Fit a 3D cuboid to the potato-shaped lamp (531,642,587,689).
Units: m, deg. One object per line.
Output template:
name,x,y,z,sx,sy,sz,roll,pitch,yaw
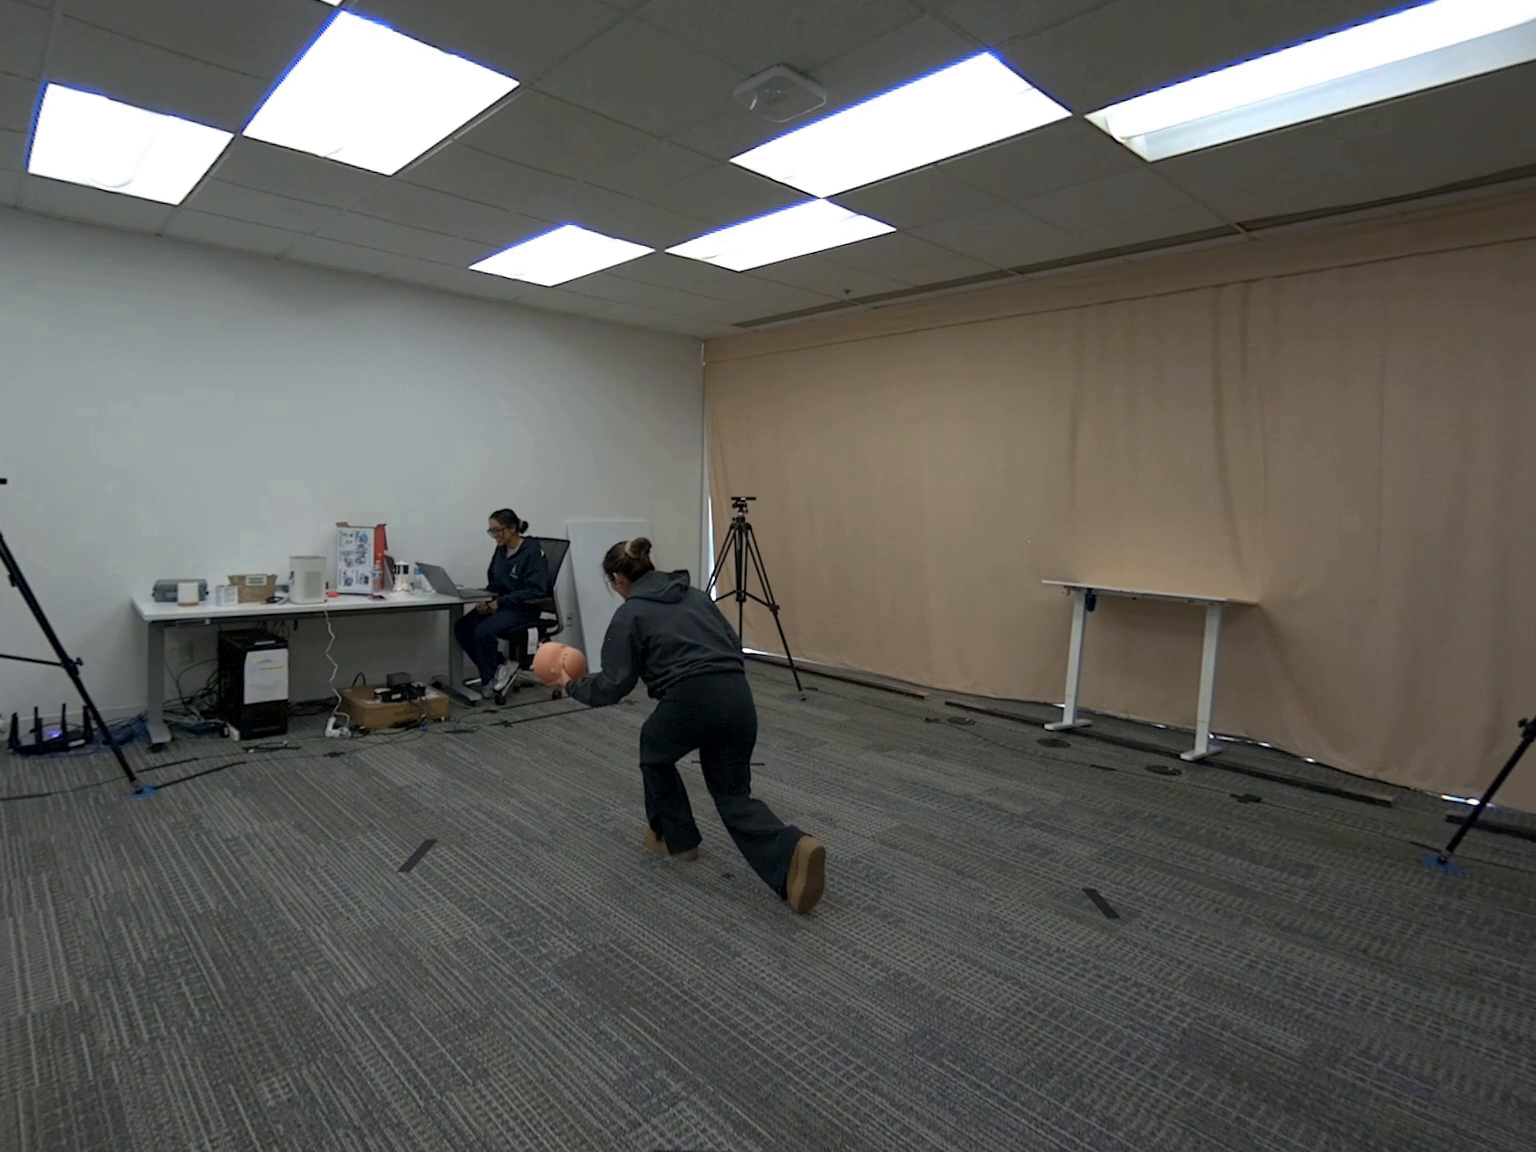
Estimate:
potato-shaped lamp,-0.834,0.349,3.377,0.201,0.167,0.166,0,-36,21
